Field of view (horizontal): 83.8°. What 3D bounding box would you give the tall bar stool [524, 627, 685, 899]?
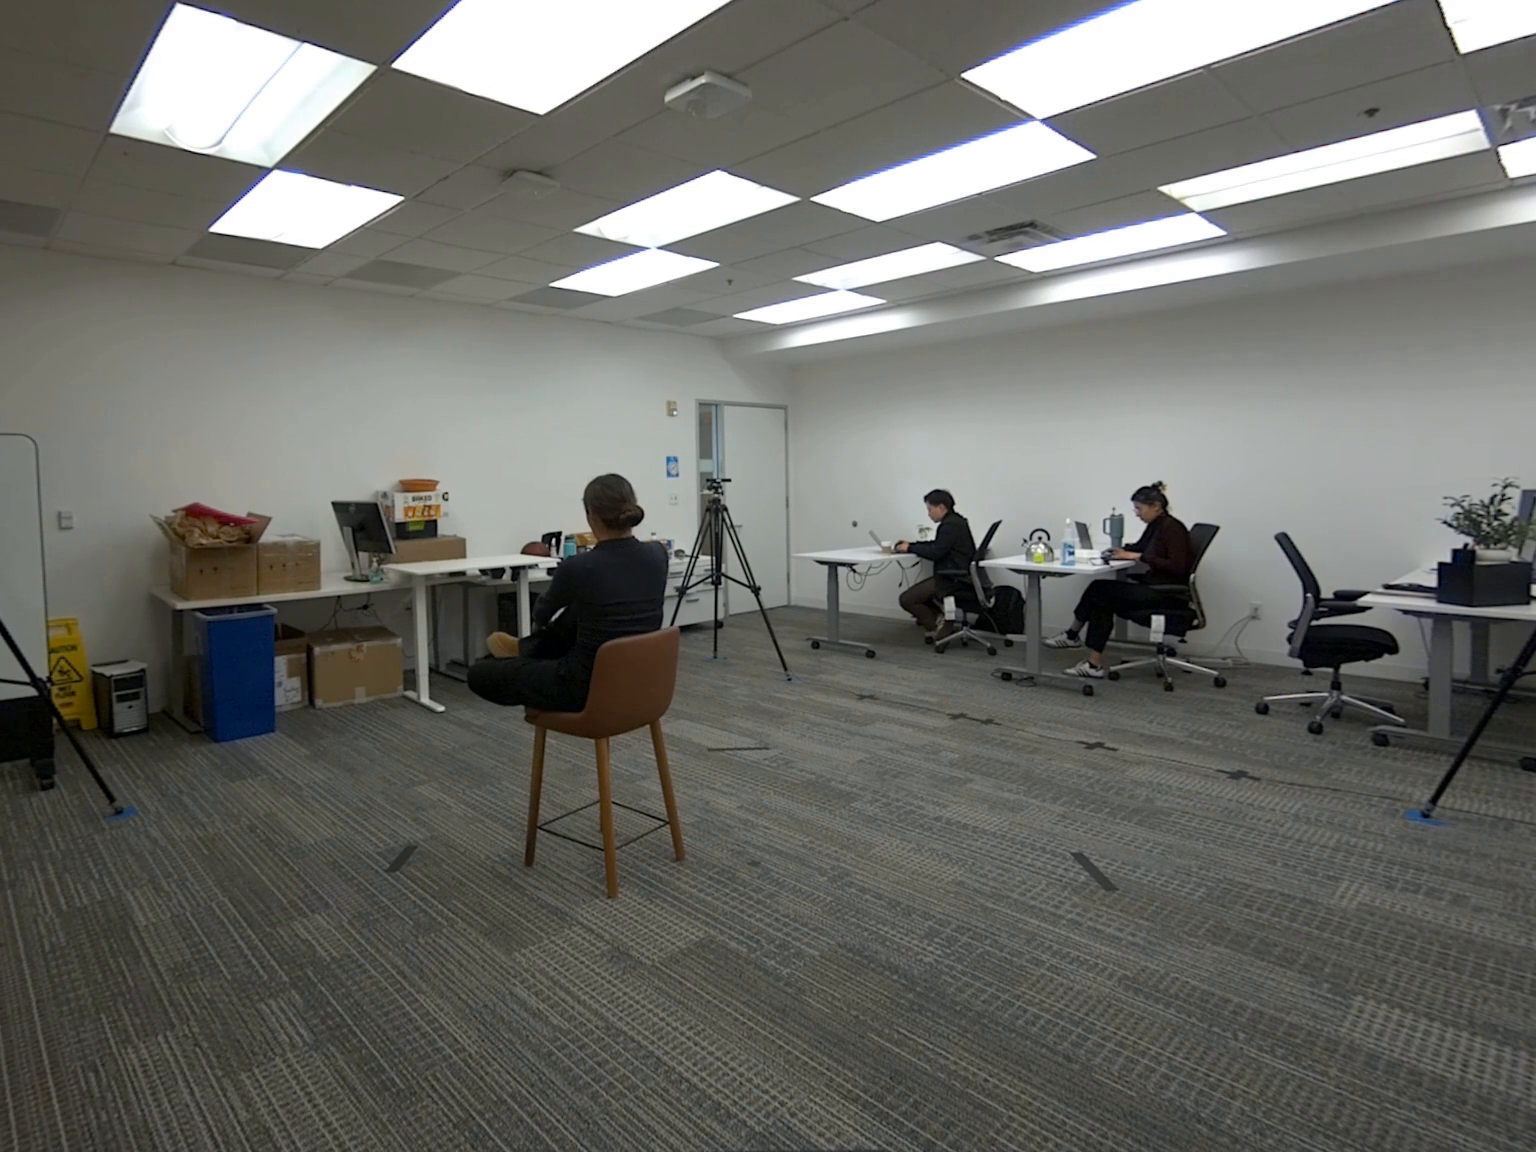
[{"bbox_3d":[-0.594,0.621,3.110,0.482,0.885,0.445,5,7,37],"label":"tall bar stool"}]
